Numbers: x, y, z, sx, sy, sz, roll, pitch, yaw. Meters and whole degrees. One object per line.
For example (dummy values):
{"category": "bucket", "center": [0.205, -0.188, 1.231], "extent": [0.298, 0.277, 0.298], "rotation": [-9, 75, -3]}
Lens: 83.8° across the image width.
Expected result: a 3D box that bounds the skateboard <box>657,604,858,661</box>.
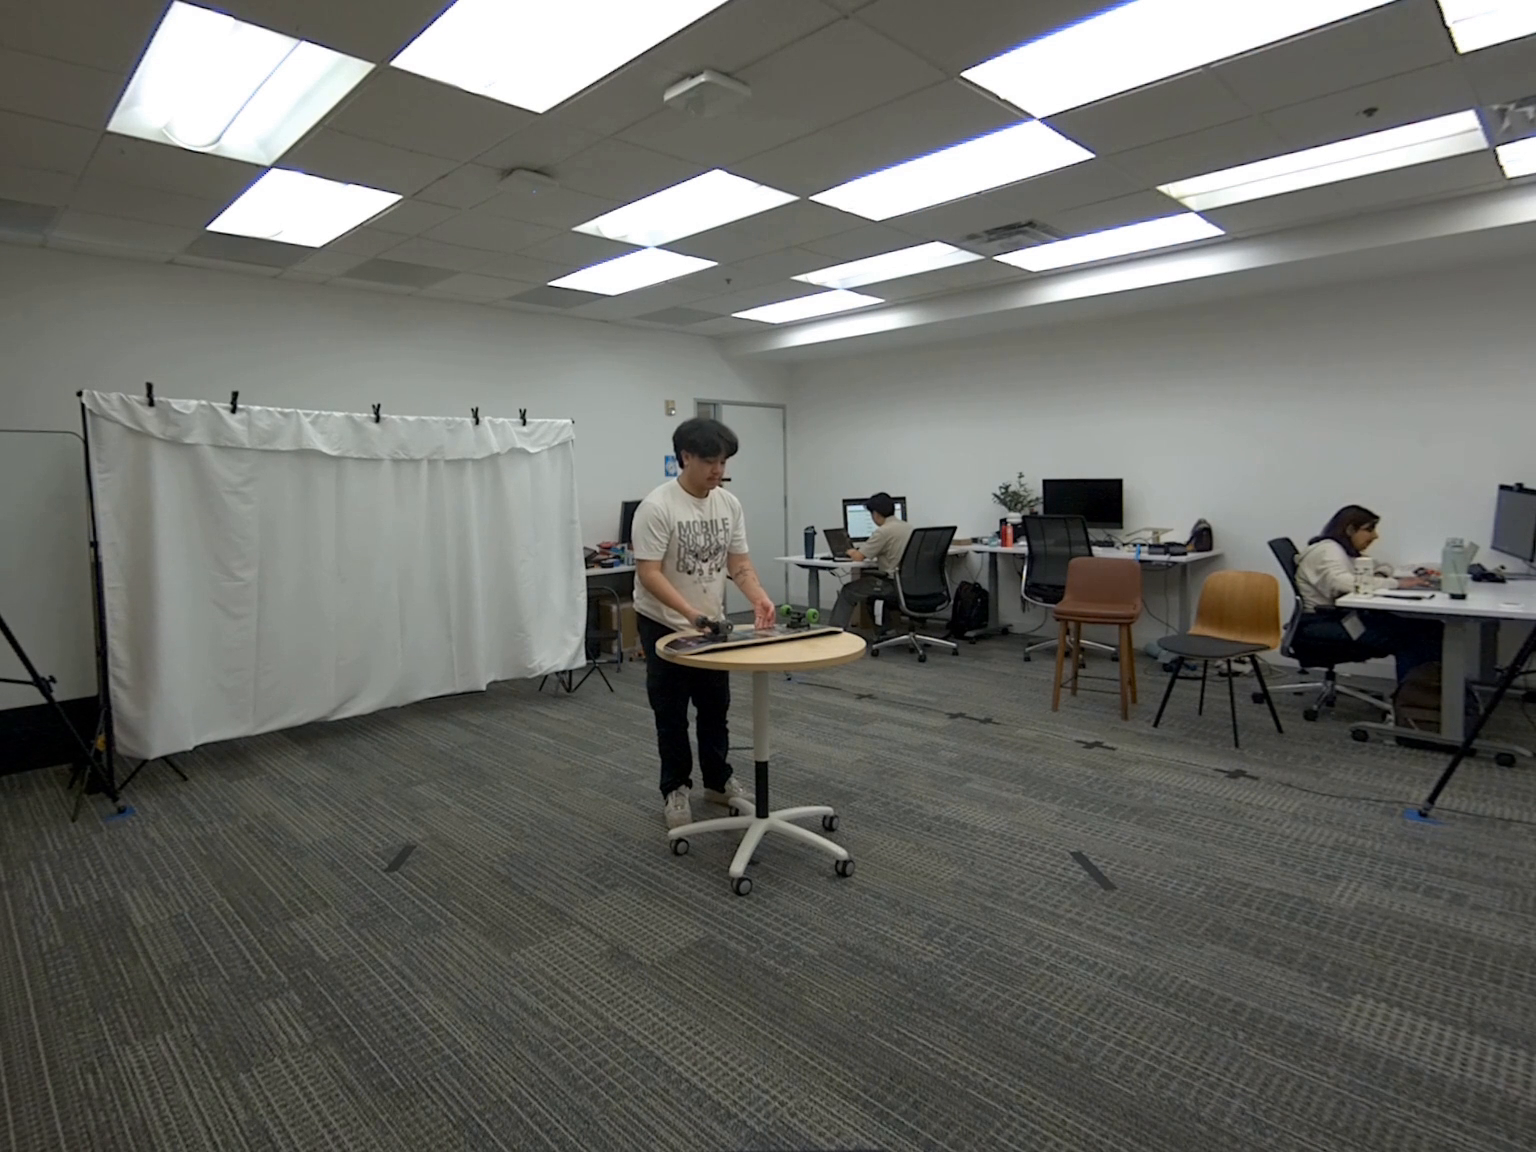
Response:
{"category": "skateboard", "center": [-0.035, 0.196, 3.138], "extent": [0.766, 0.110, 0.199], "rotation": [-4, 4, -34]}
